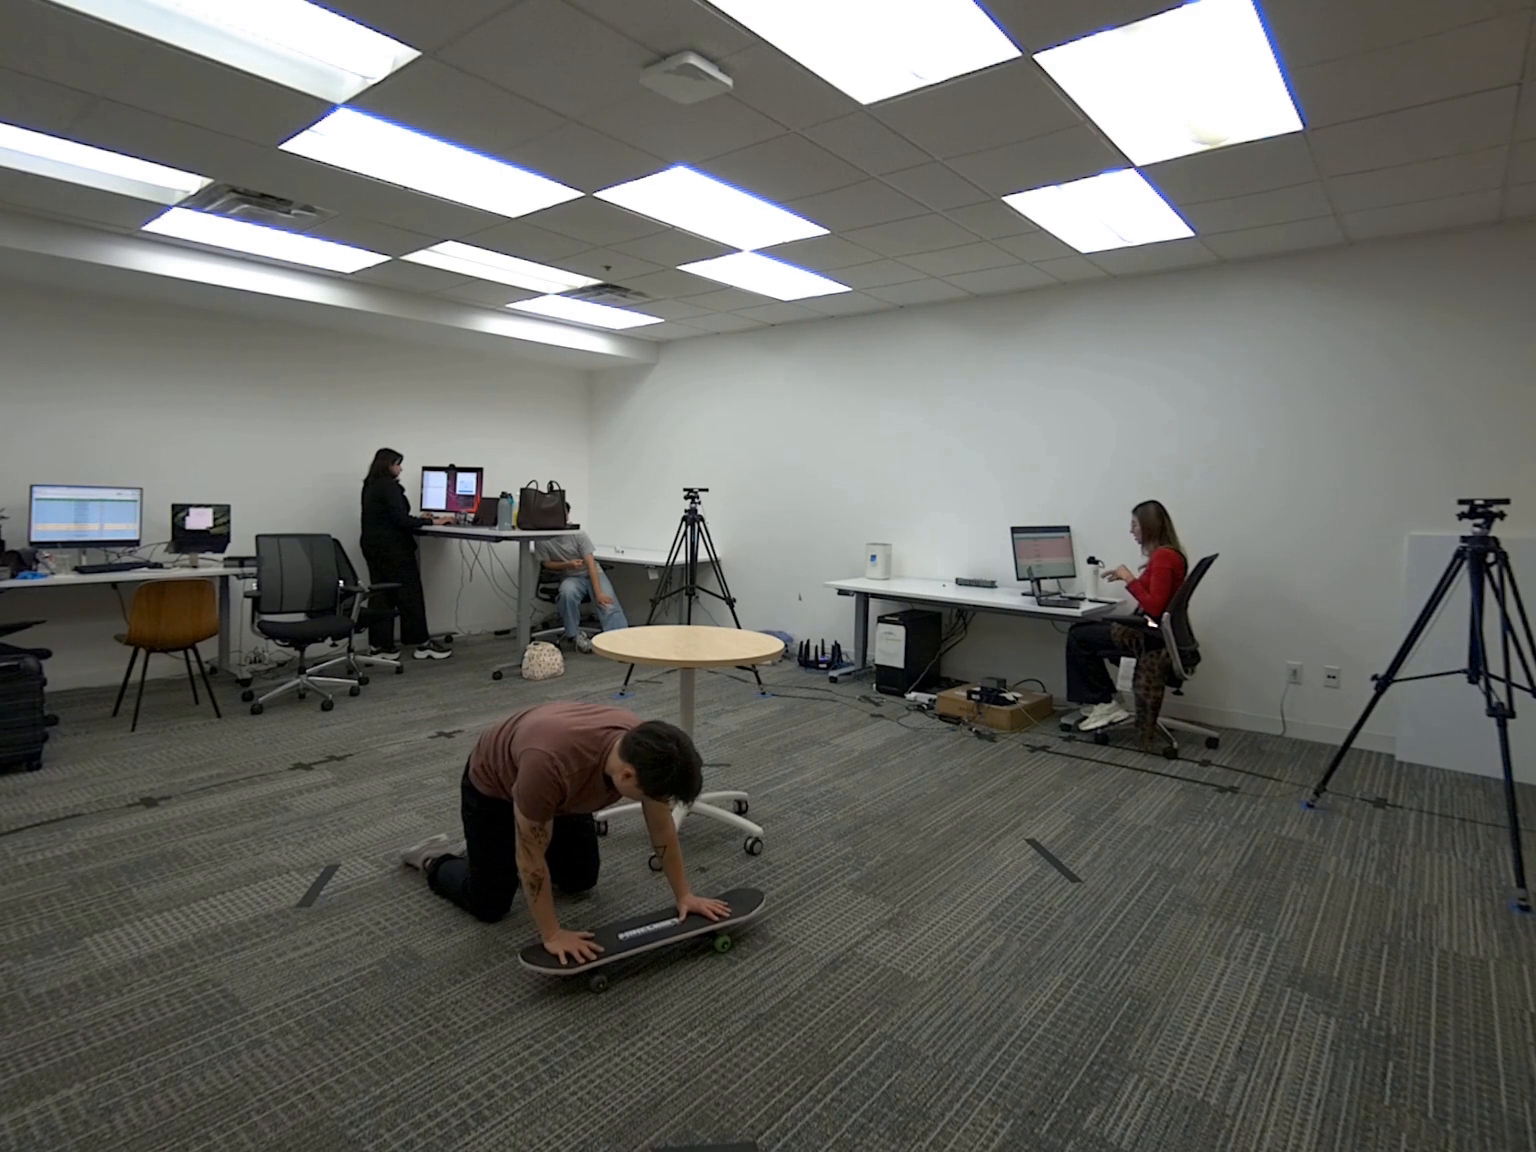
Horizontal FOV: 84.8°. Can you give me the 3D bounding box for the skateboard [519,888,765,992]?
[{"bbox_3d":[-0.351,1.070,2.509,0.764,0.110,0.199,-4,4,-32],"label":"skateboard"}]
